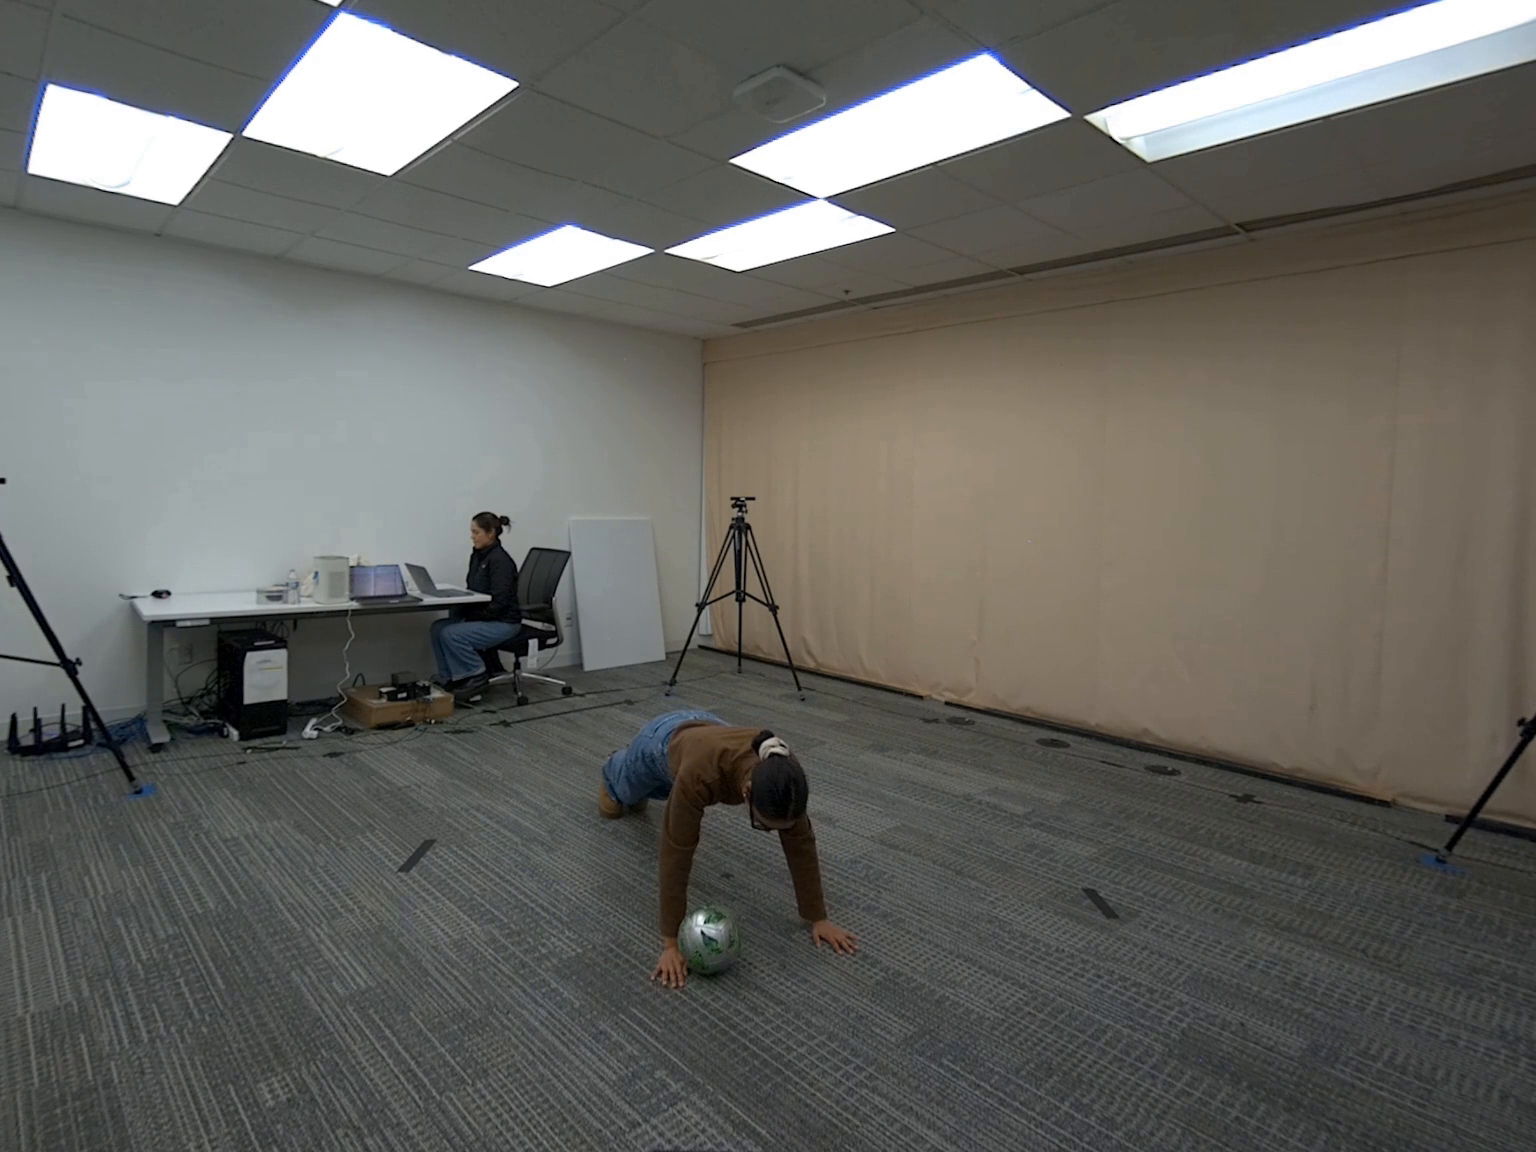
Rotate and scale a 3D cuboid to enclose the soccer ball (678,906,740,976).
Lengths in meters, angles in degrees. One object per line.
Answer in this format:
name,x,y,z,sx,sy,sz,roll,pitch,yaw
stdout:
soccer ball,-0.178,1.071,2.476,0.187,0.187,0.188,1,4,-1
